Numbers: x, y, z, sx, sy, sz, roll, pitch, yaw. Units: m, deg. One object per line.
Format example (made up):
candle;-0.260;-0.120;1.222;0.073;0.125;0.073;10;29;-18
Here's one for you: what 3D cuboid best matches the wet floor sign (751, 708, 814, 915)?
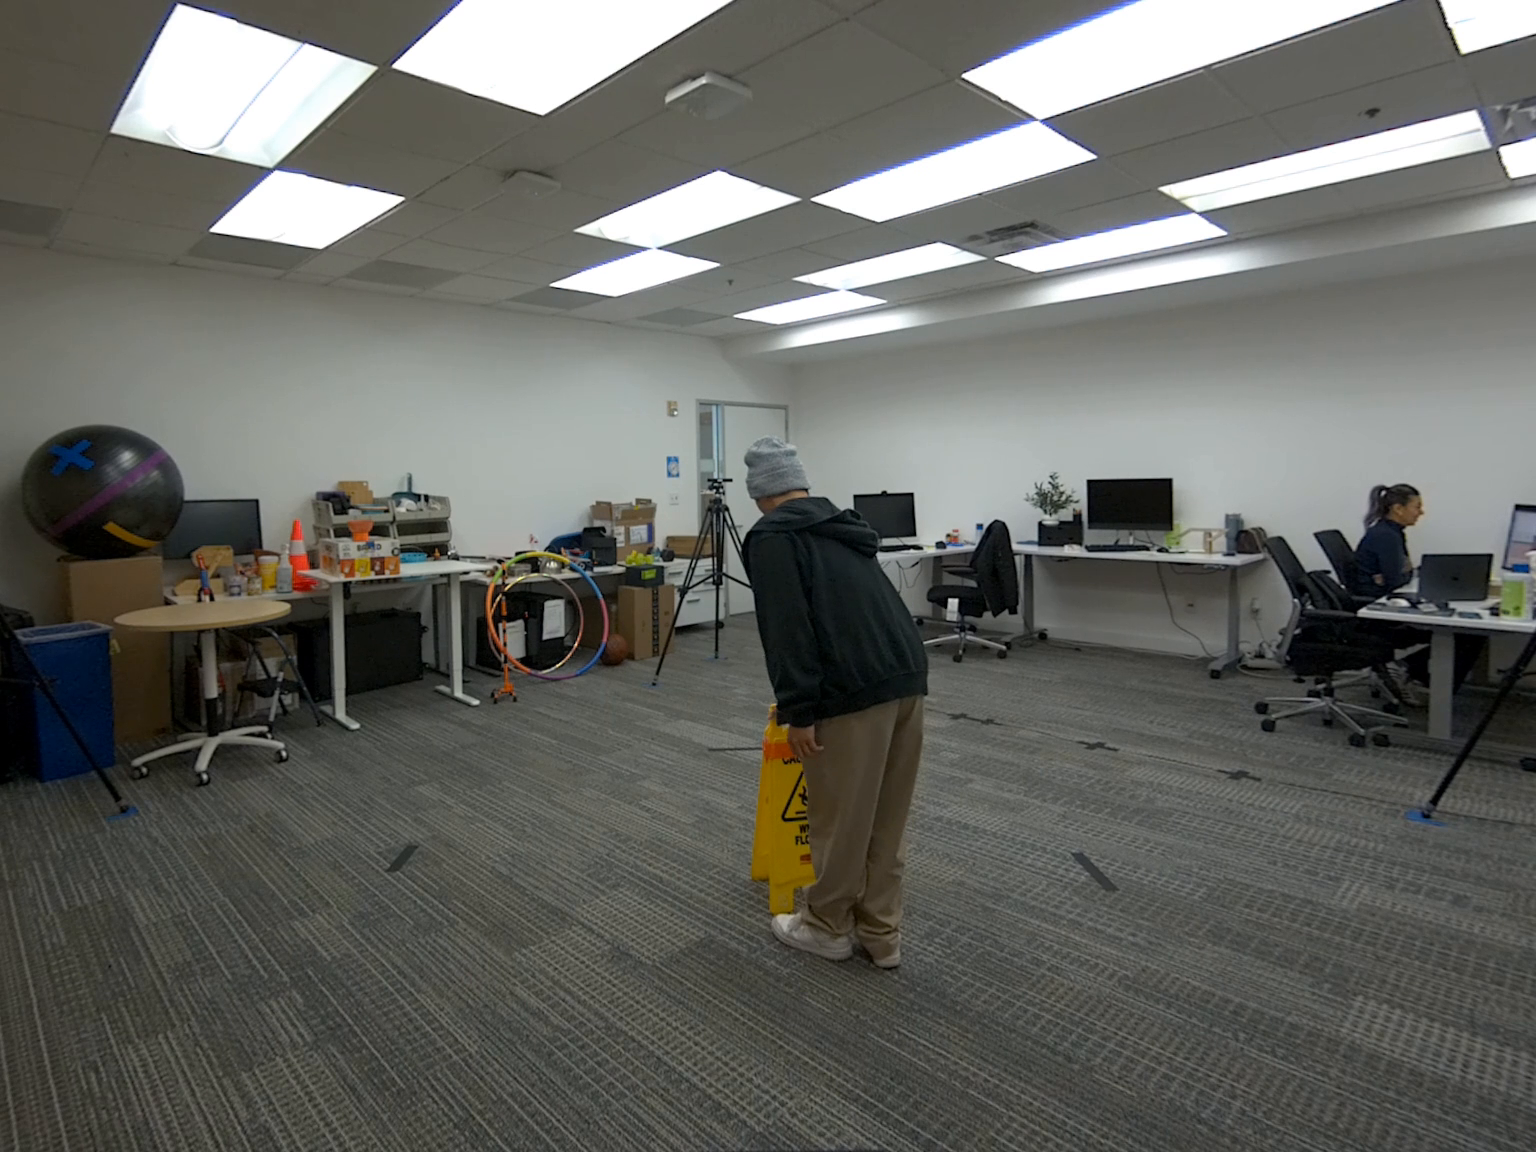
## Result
wet floor sign;0.107;0.740;2.868;0.279;0.644;0.294;-3;4;-13
